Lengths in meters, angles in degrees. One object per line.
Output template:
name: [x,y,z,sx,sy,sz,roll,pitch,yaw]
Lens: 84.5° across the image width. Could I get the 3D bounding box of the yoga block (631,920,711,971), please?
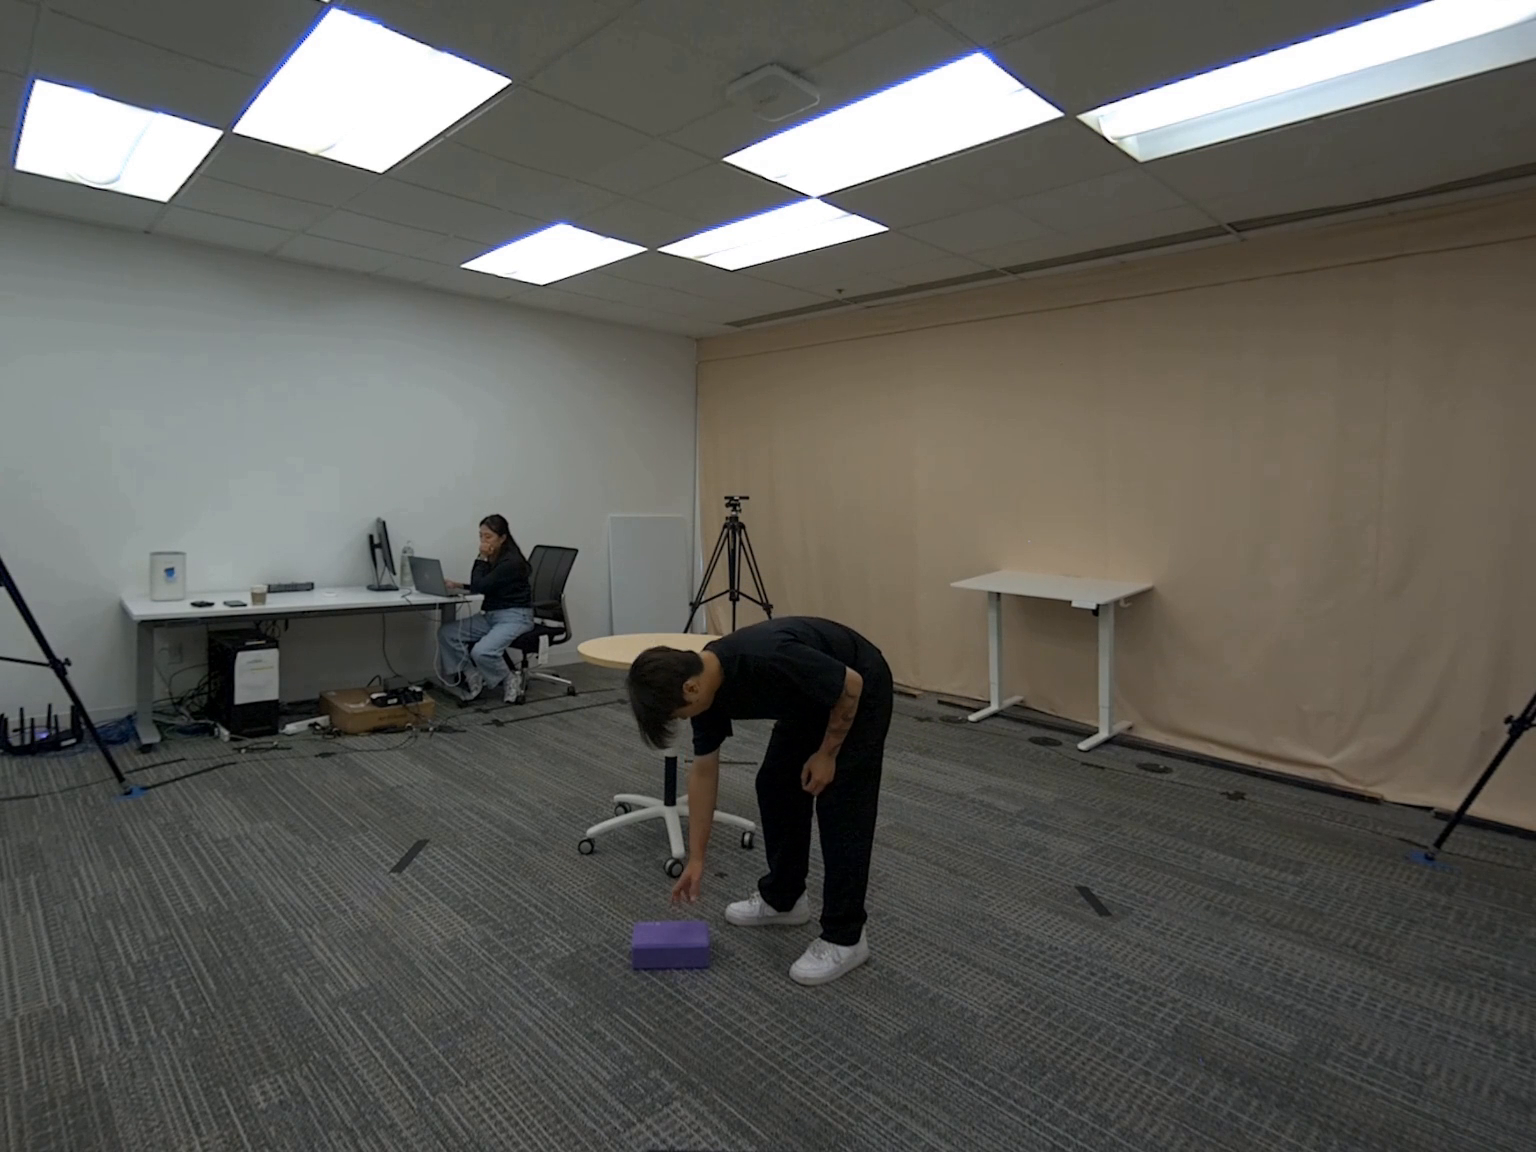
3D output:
yoga block: [-0.295,1.109,2.538,0.228,0.076,0.150,1,3,-5]
